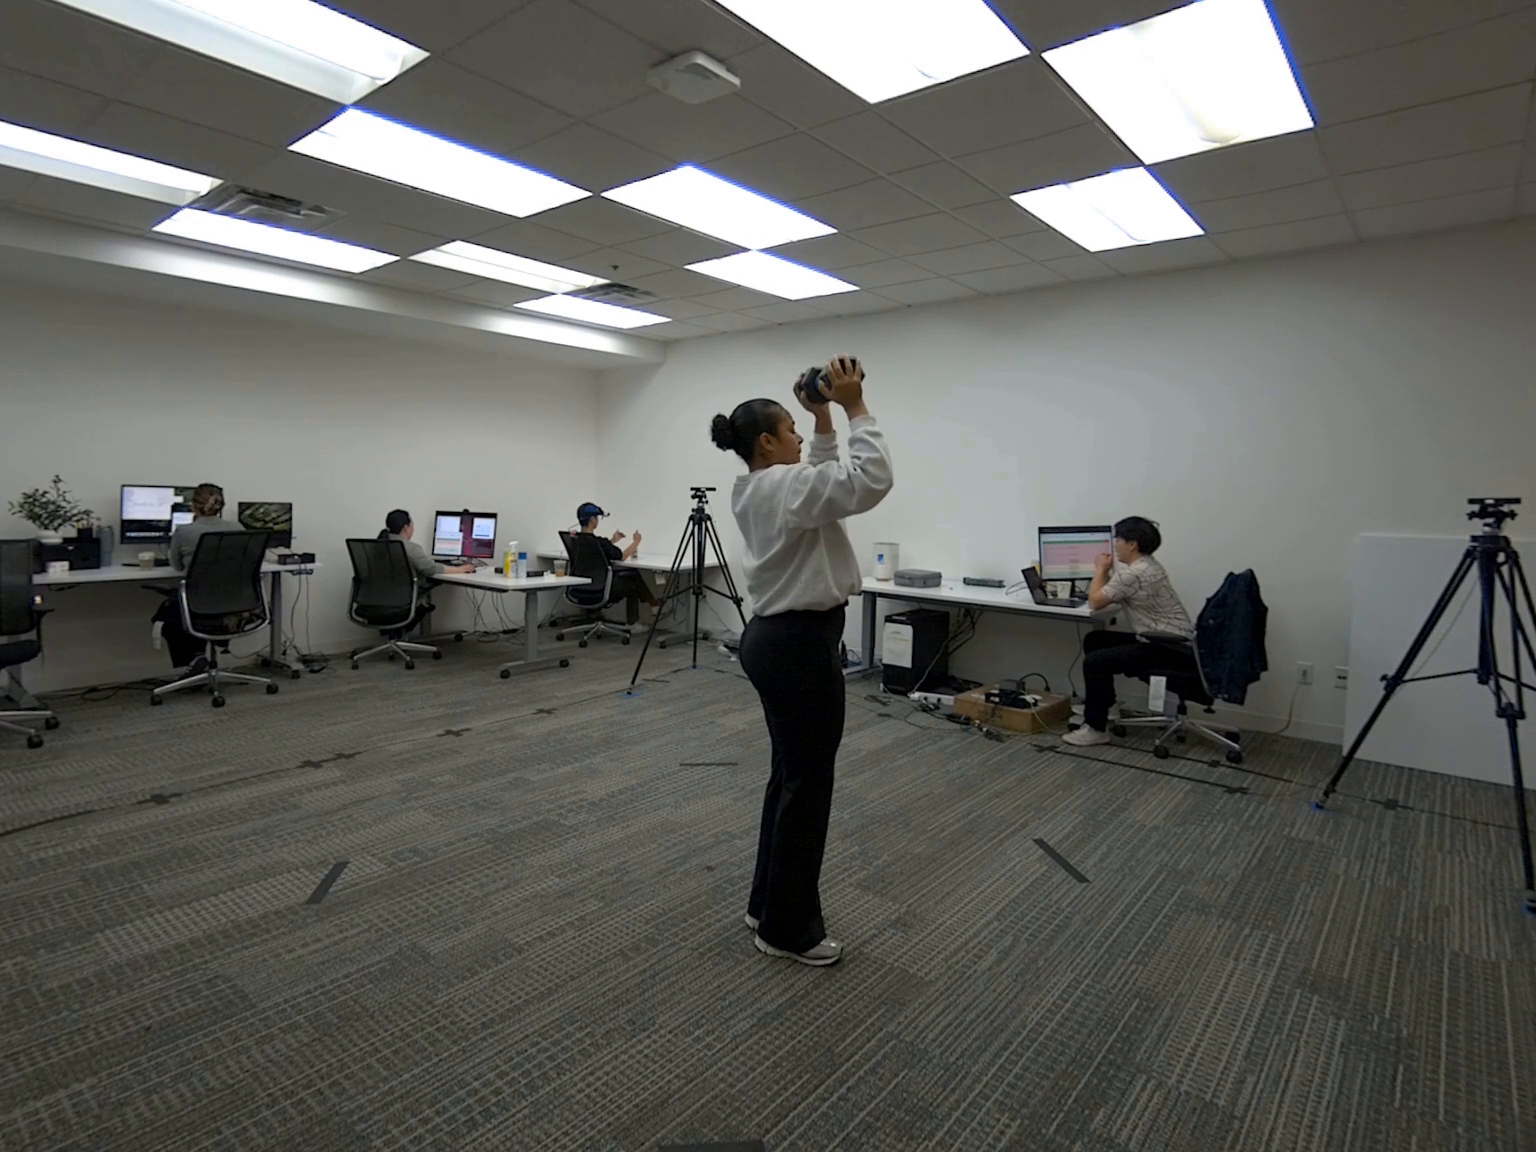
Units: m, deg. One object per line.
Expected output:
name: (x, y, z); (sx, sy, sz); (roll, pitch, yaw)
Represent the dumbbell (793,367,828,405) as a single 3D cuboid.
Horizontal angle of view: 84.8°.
dumbbell: (0.175, -0.596, 2.563); (0.107, 0.123, 0.297); (35, 0, -9)
